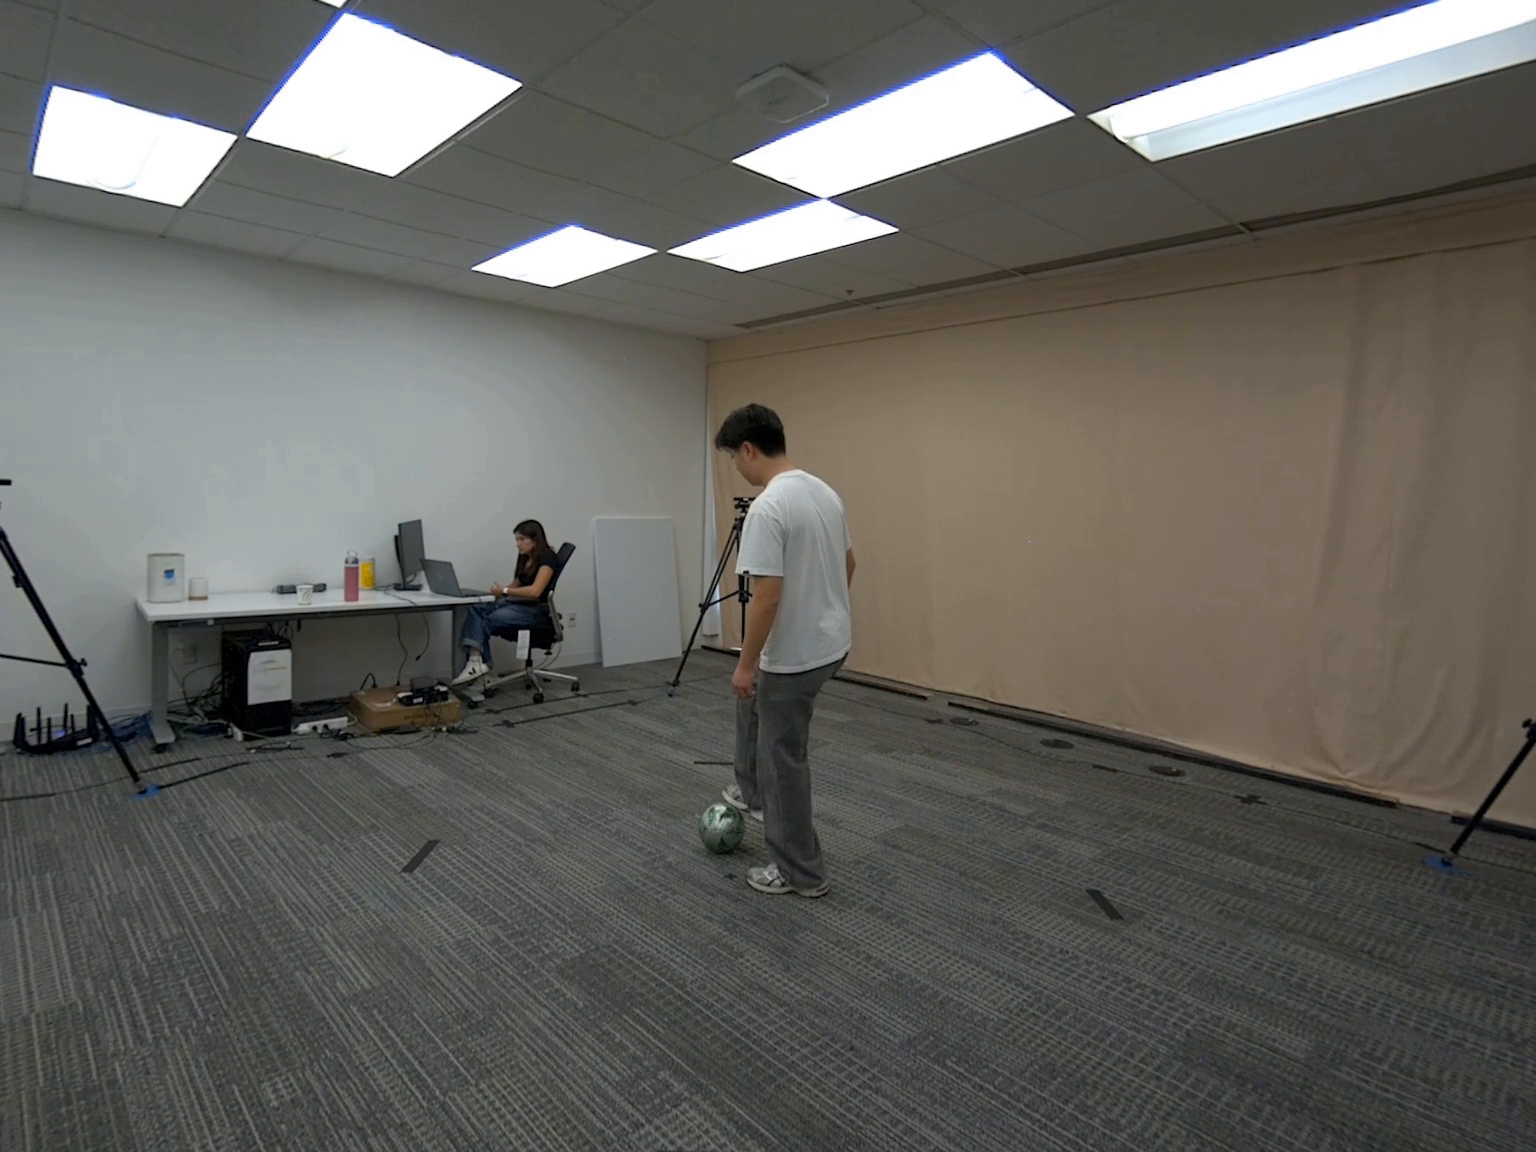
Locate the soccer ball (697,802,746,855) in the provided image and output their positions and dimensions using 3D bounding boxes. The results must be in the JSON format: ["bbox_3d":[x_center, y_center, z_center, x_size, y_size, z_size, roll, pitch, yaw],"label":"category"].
[{"bbox_3d":[-0.184,0.988,3.315,0.187,0.187,0.188,1,4,-1],"label":"soccer ball"}]
